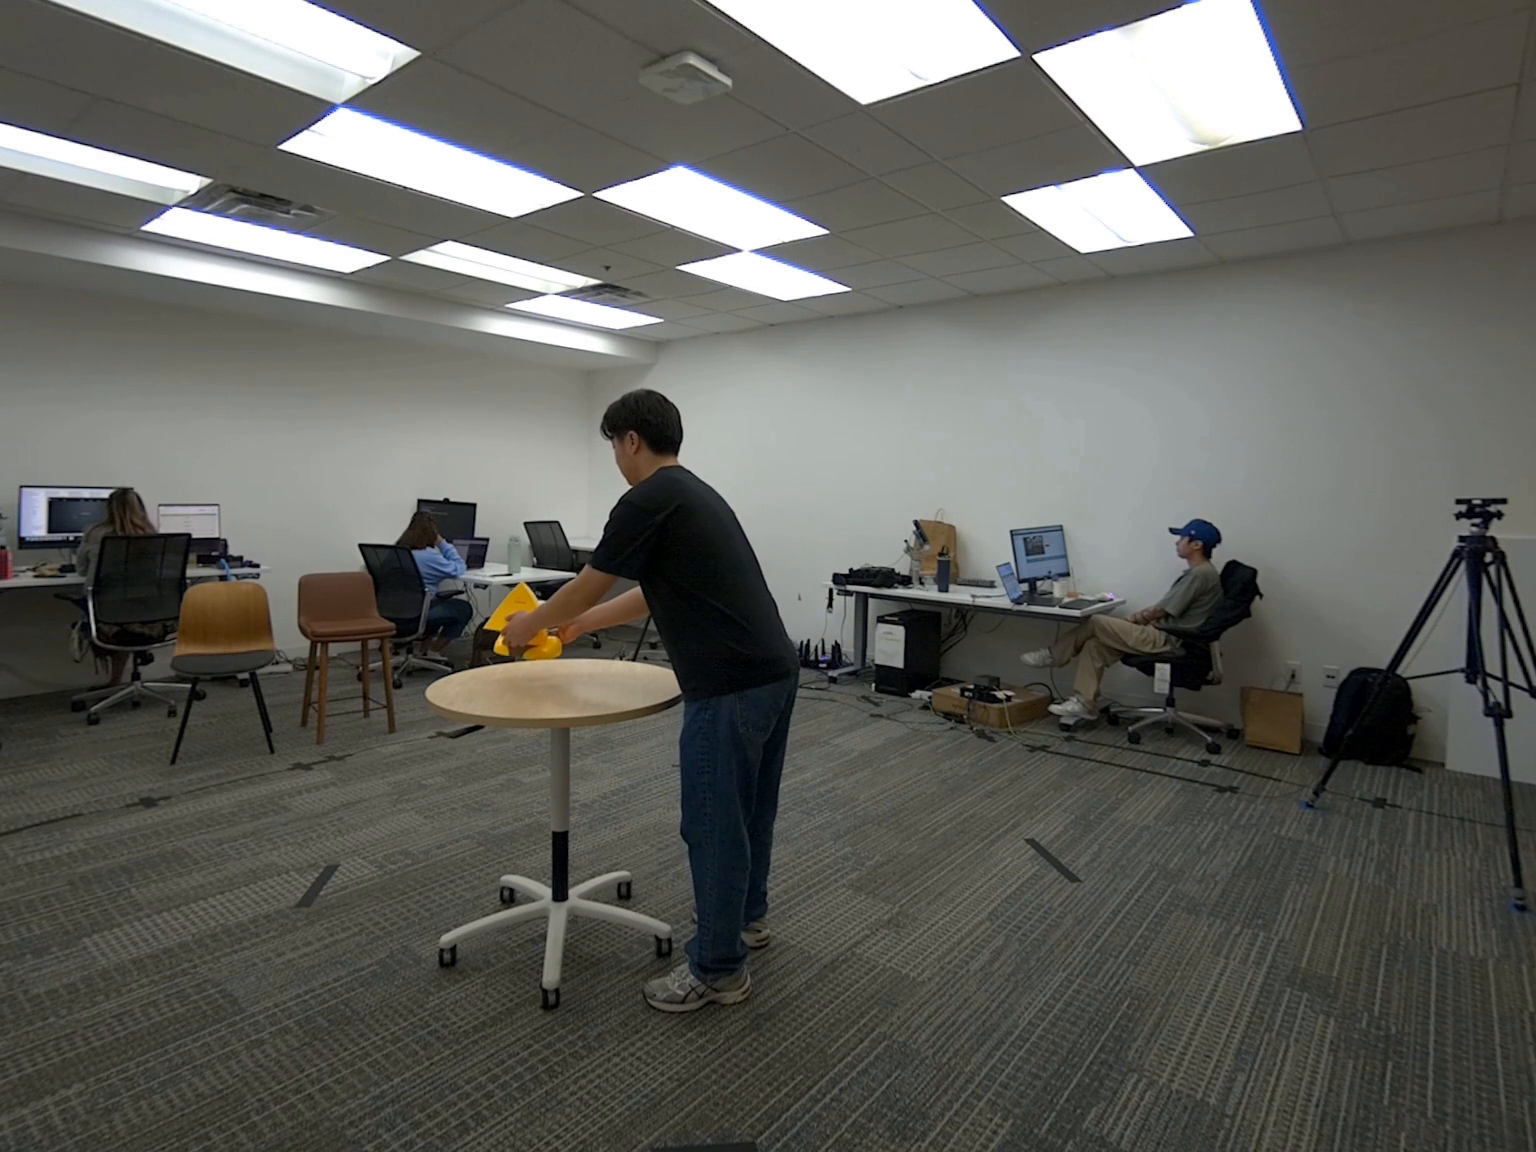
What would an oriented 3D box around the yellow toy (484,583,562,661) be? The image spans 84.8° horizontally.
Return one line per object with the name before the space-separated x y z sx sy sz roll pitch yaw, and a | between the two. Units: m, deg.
yellow toy | -0.741 0.122 2.612 0.208 0.229 0.191 7 7 14
